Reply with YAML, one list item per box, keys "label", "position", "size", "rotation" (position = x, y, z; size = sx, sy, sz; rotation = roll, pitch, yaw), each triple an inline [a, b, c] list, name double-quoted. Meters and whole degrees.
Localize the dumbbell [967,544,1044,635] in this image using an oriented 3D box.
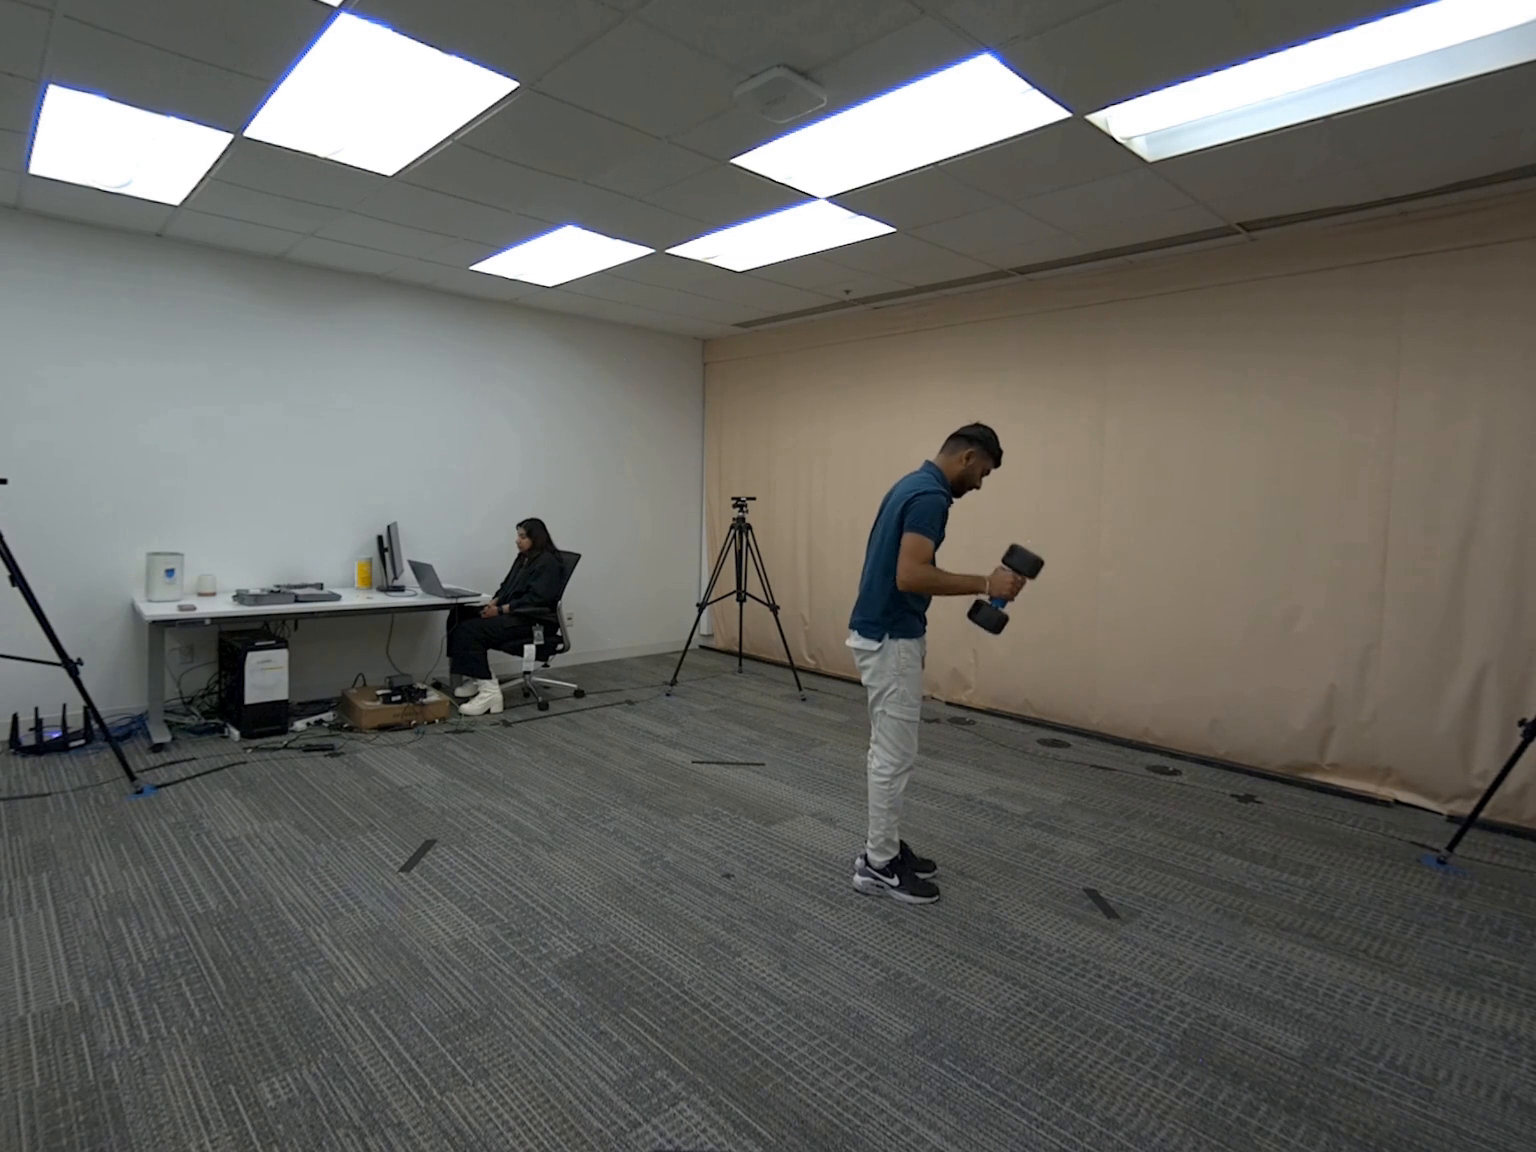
- label: "dumbbell"
  position: [0.768, 0.053, 2.750]
  size: [0.107, 0.293, 0.125]
  rotation: [29, 8, -17]
